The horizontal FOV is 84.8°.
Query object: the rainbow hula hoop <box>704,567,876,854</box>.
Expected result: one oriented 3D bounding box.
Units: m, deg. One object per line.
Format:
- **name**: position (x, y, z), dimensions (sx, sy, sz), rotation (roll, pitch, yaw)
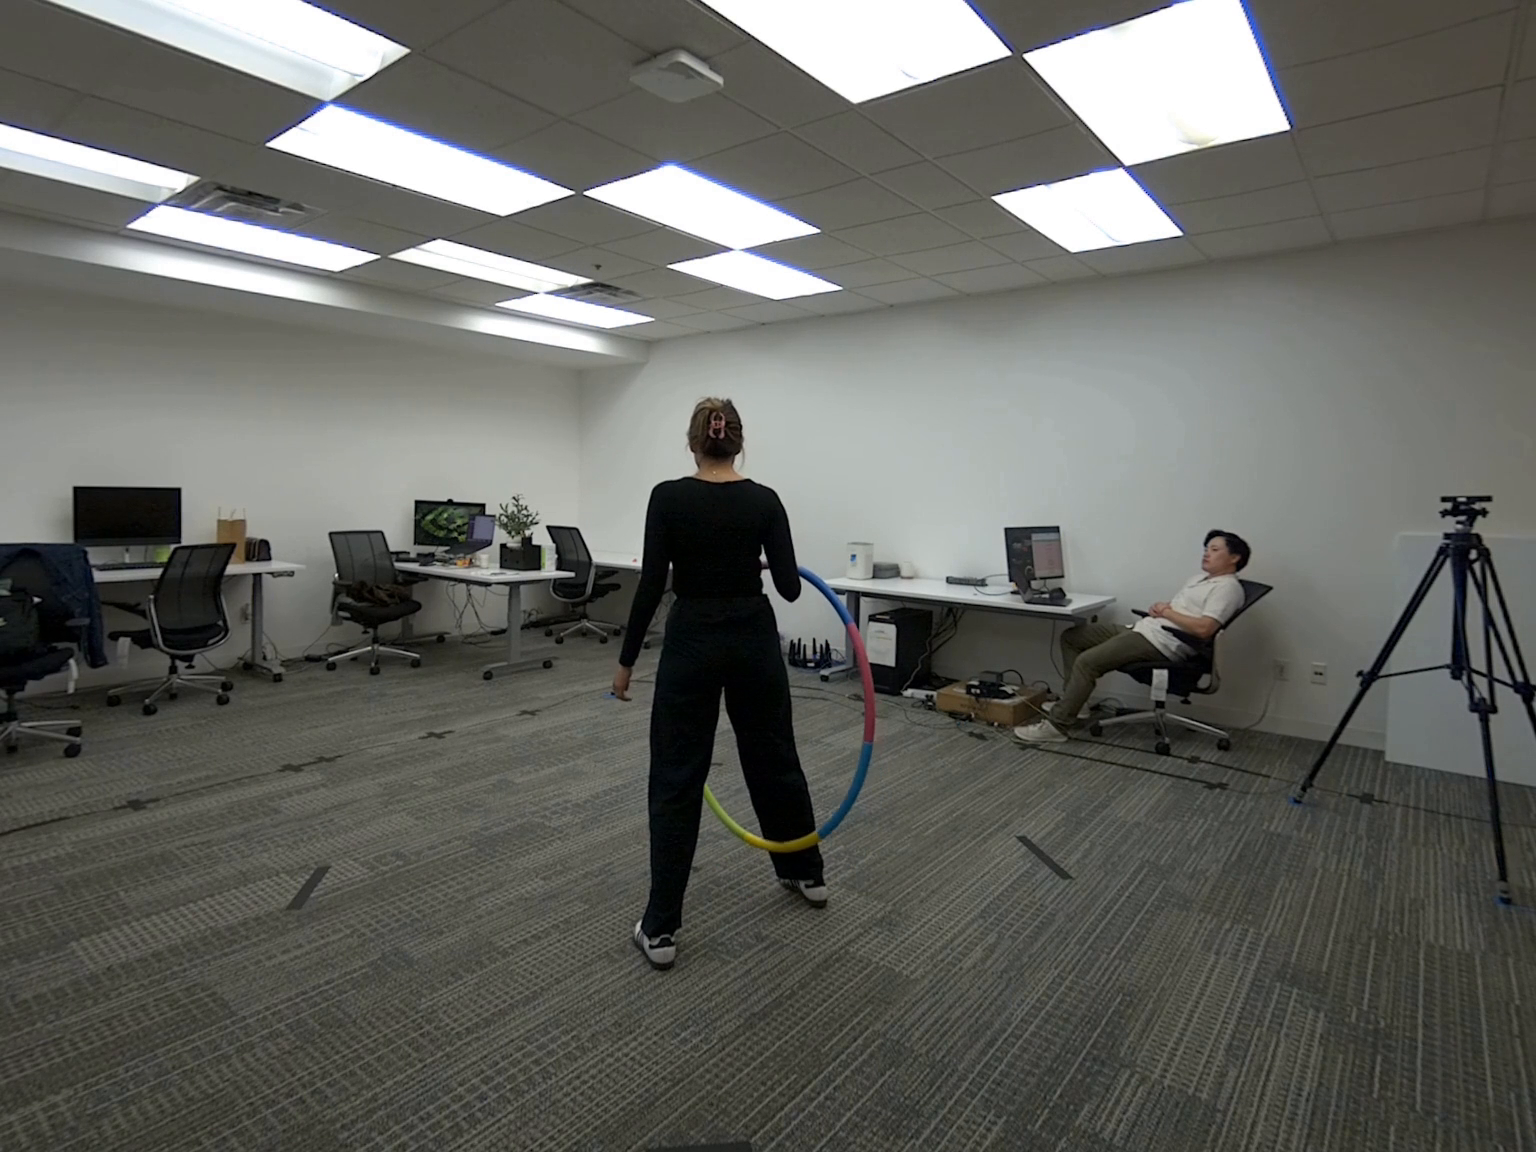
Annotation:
- **rainbow hula hoop**: position (-0.027, 0.438, 2.961), dimensions (0.034, 0.979, 1.012), rotation (5, 0, -41)
